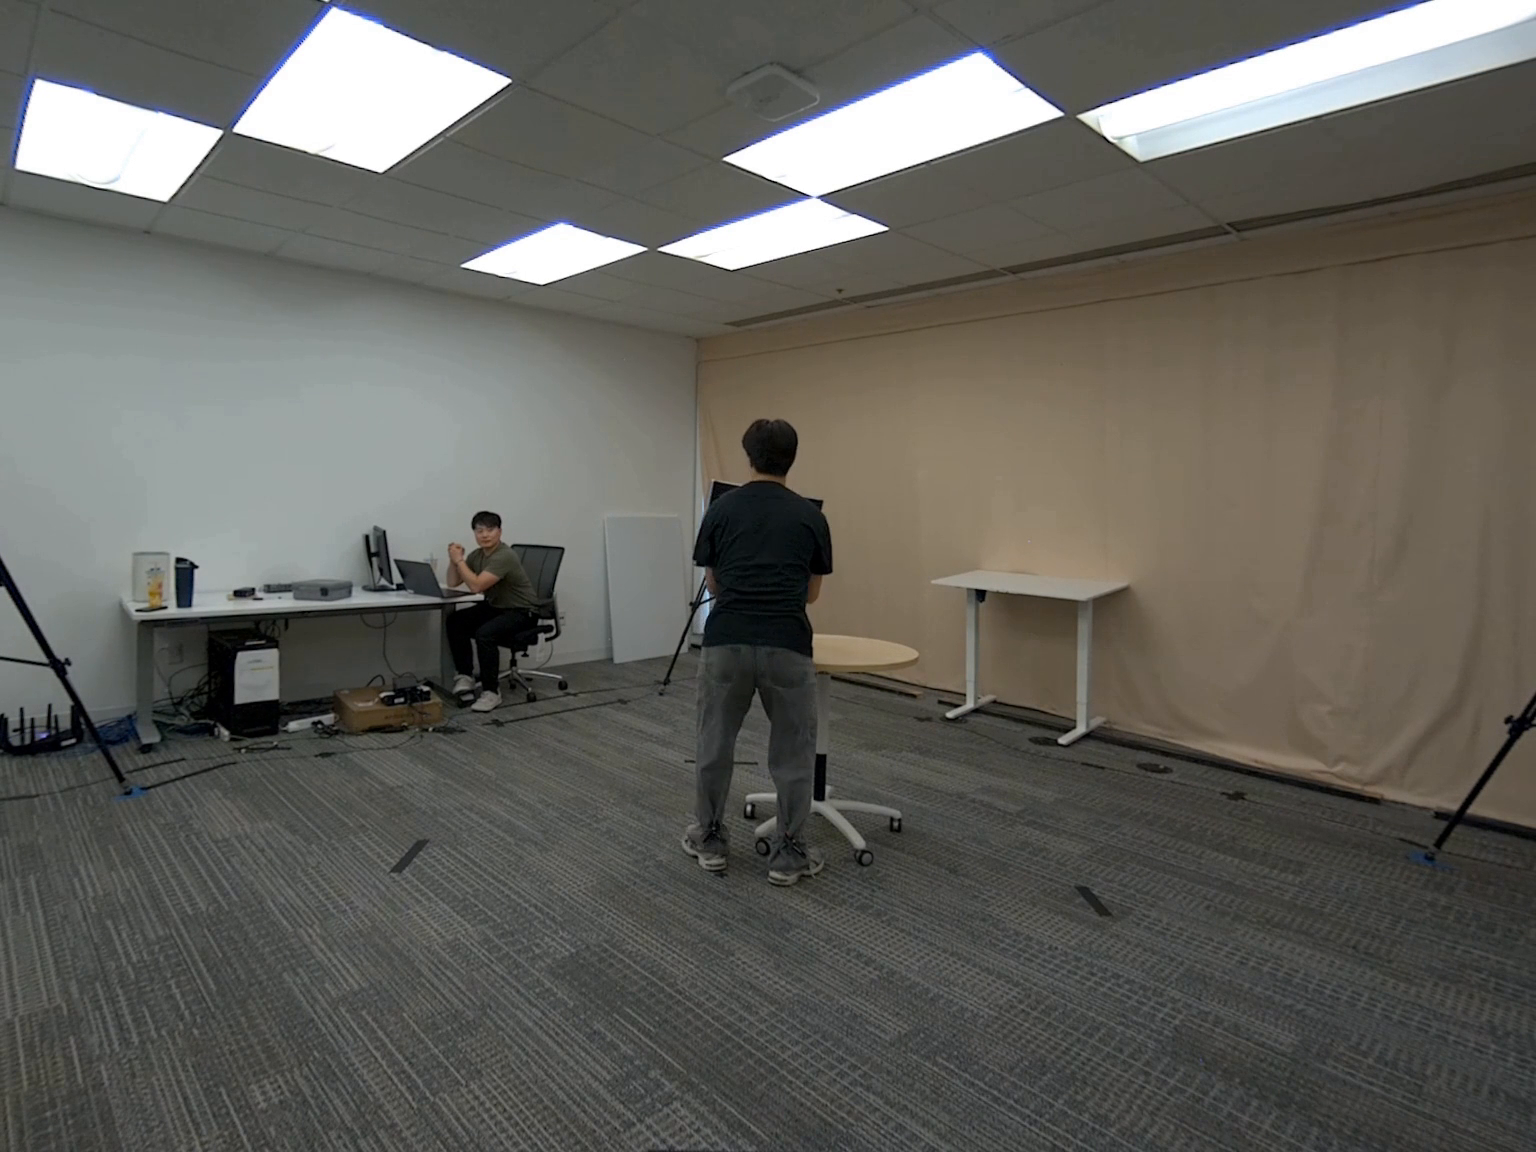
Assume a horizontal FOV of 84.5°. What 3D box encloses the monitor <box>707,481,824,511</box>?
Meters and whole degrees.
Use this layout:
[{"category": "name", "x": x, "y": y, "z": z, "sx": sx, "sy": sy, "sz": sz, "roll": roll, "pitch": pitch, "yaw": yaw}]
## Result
[{"category": "monitor", "x": -0.027, "y": -0.083, "z": 3.528, "sx": 0.549, "sy": 0.568, "sz": 0.226, "roll": 8, "pitch": -7, "yaw": -28}]
